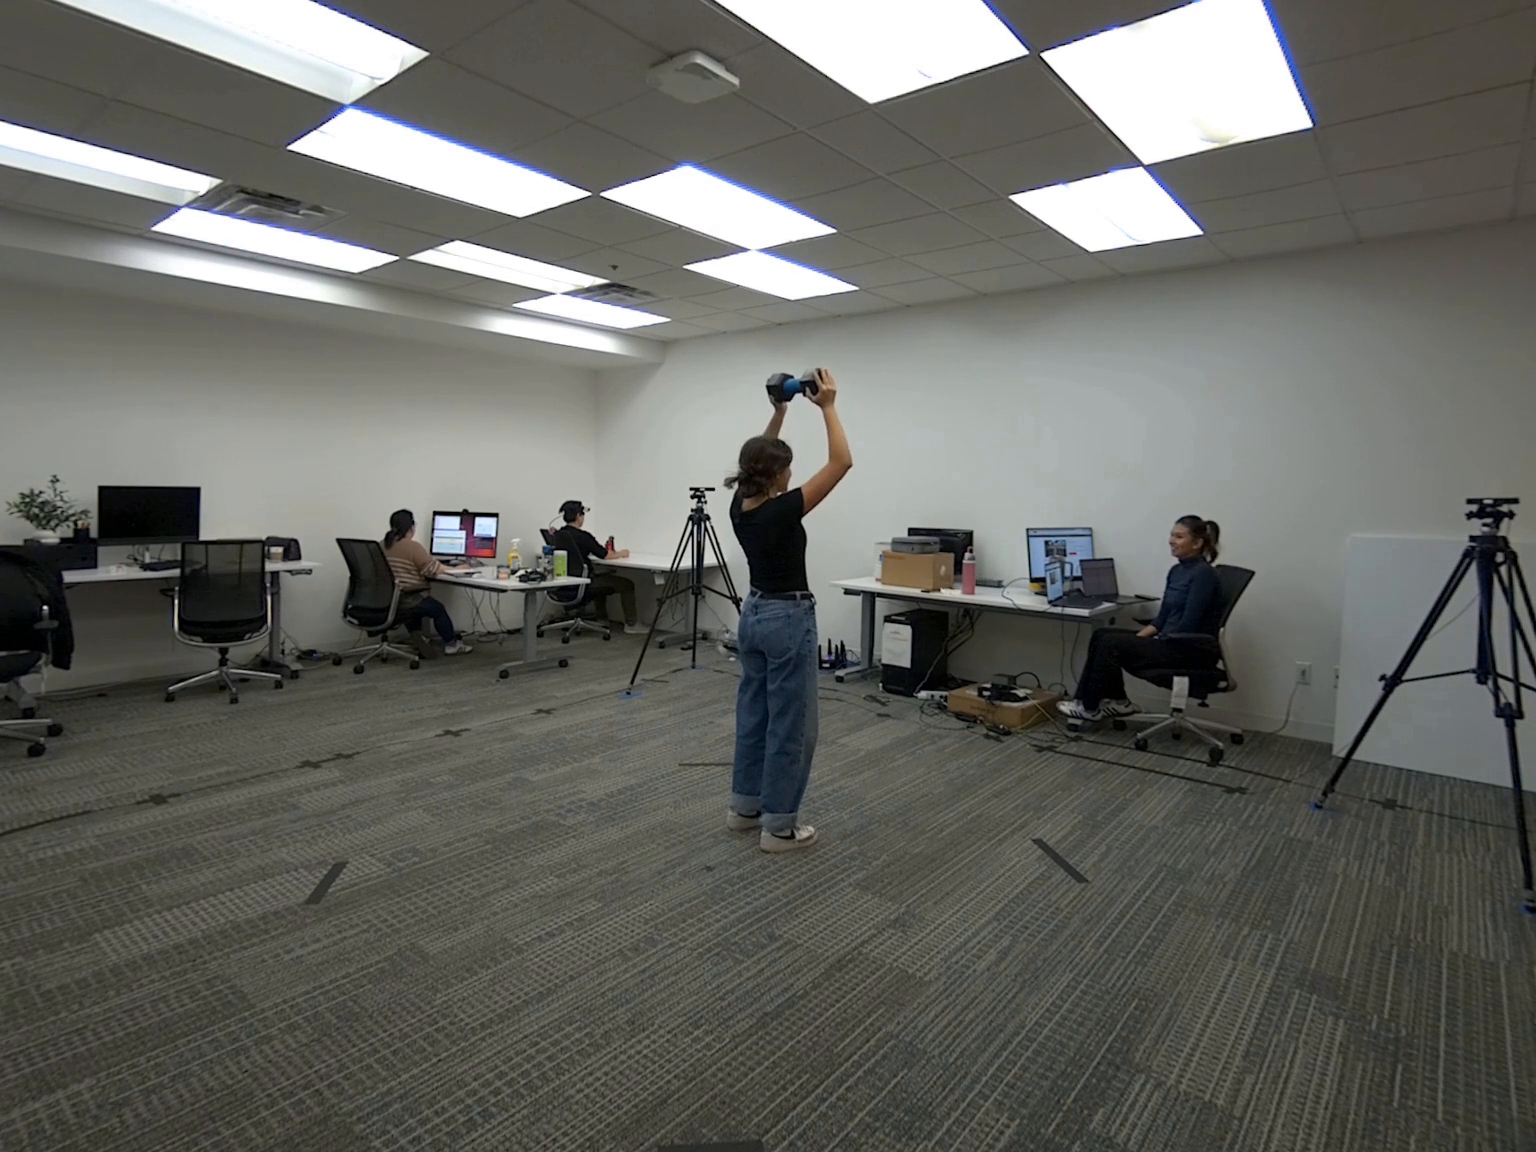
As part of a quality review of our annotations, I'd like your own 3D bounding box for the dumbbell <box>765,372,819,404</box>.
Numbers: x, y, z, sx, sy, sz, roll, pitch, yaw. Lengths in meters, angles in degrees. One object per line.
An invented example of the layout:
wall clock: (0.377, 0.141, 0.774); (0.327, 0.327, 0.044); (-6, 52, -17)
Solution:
dumbbell: (0.112, -0.749, 3.347); (0.104, 0.123, 0.304); (42, -18, -33)
